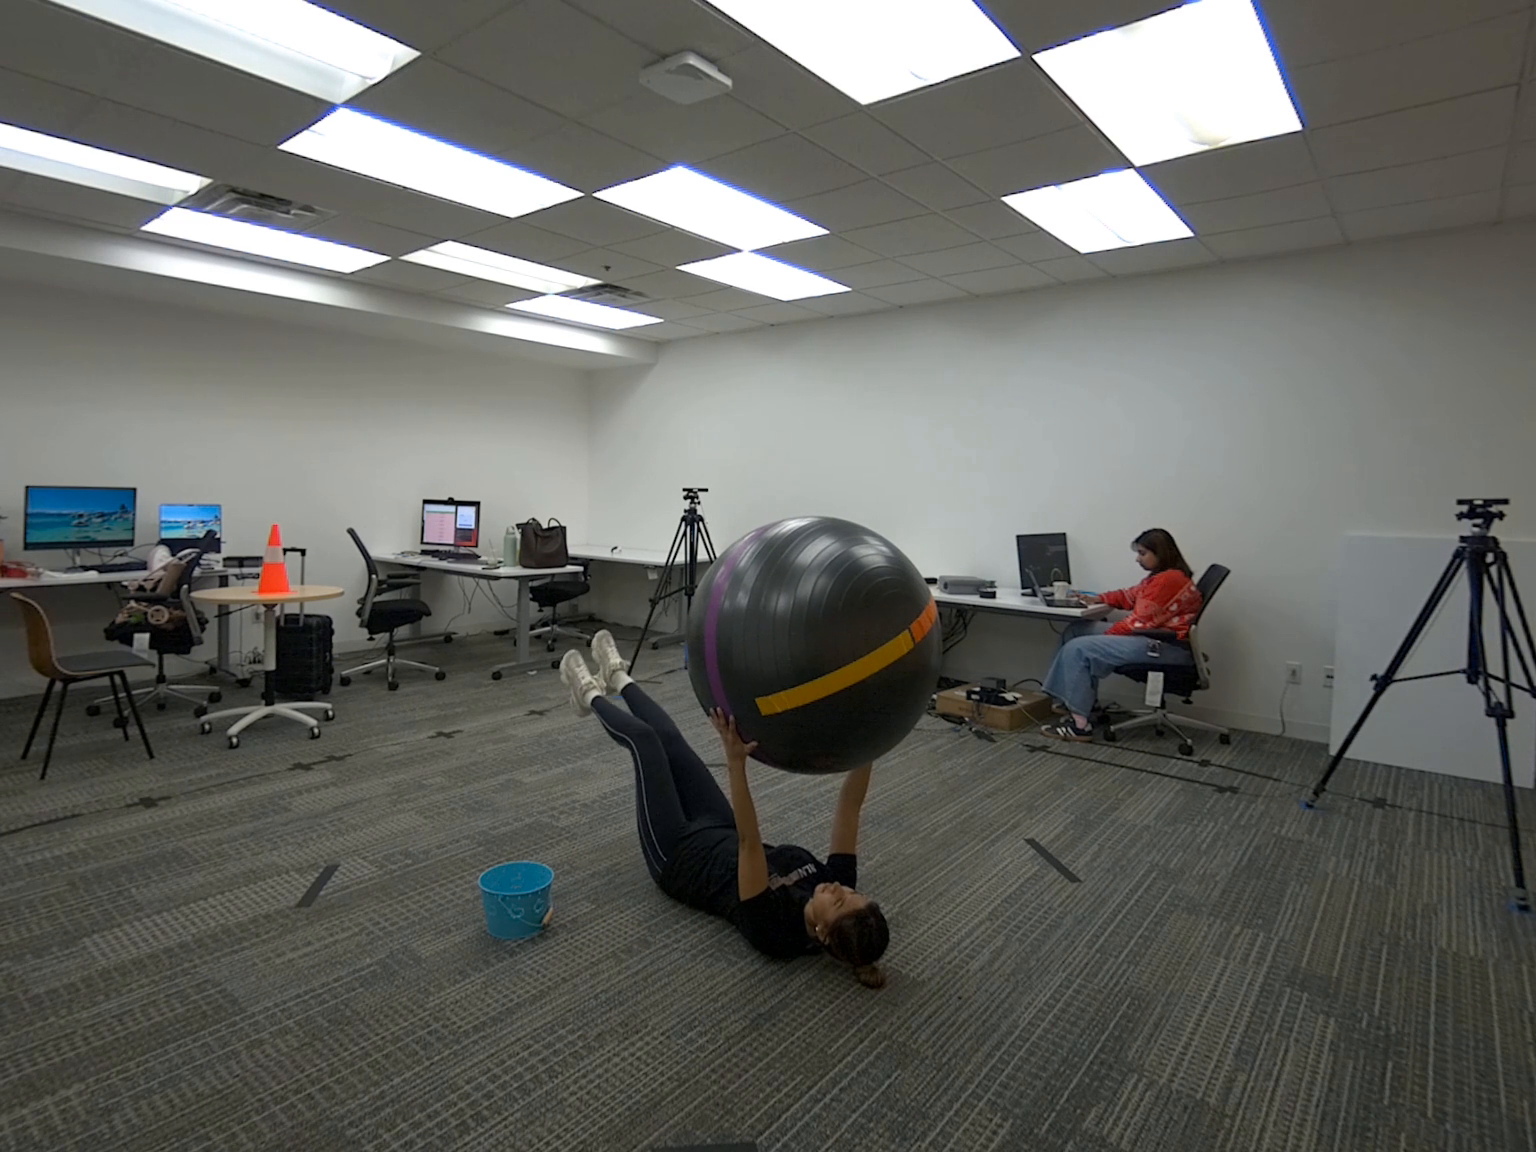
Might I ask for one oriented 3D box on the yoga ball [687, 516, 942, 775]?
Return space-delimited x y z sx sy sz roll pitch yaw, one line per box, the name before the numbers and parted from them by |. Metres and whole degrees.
yoga ball | 0.123 0.201 2.531 0.757 0.756 0.761 -3 3 -2
